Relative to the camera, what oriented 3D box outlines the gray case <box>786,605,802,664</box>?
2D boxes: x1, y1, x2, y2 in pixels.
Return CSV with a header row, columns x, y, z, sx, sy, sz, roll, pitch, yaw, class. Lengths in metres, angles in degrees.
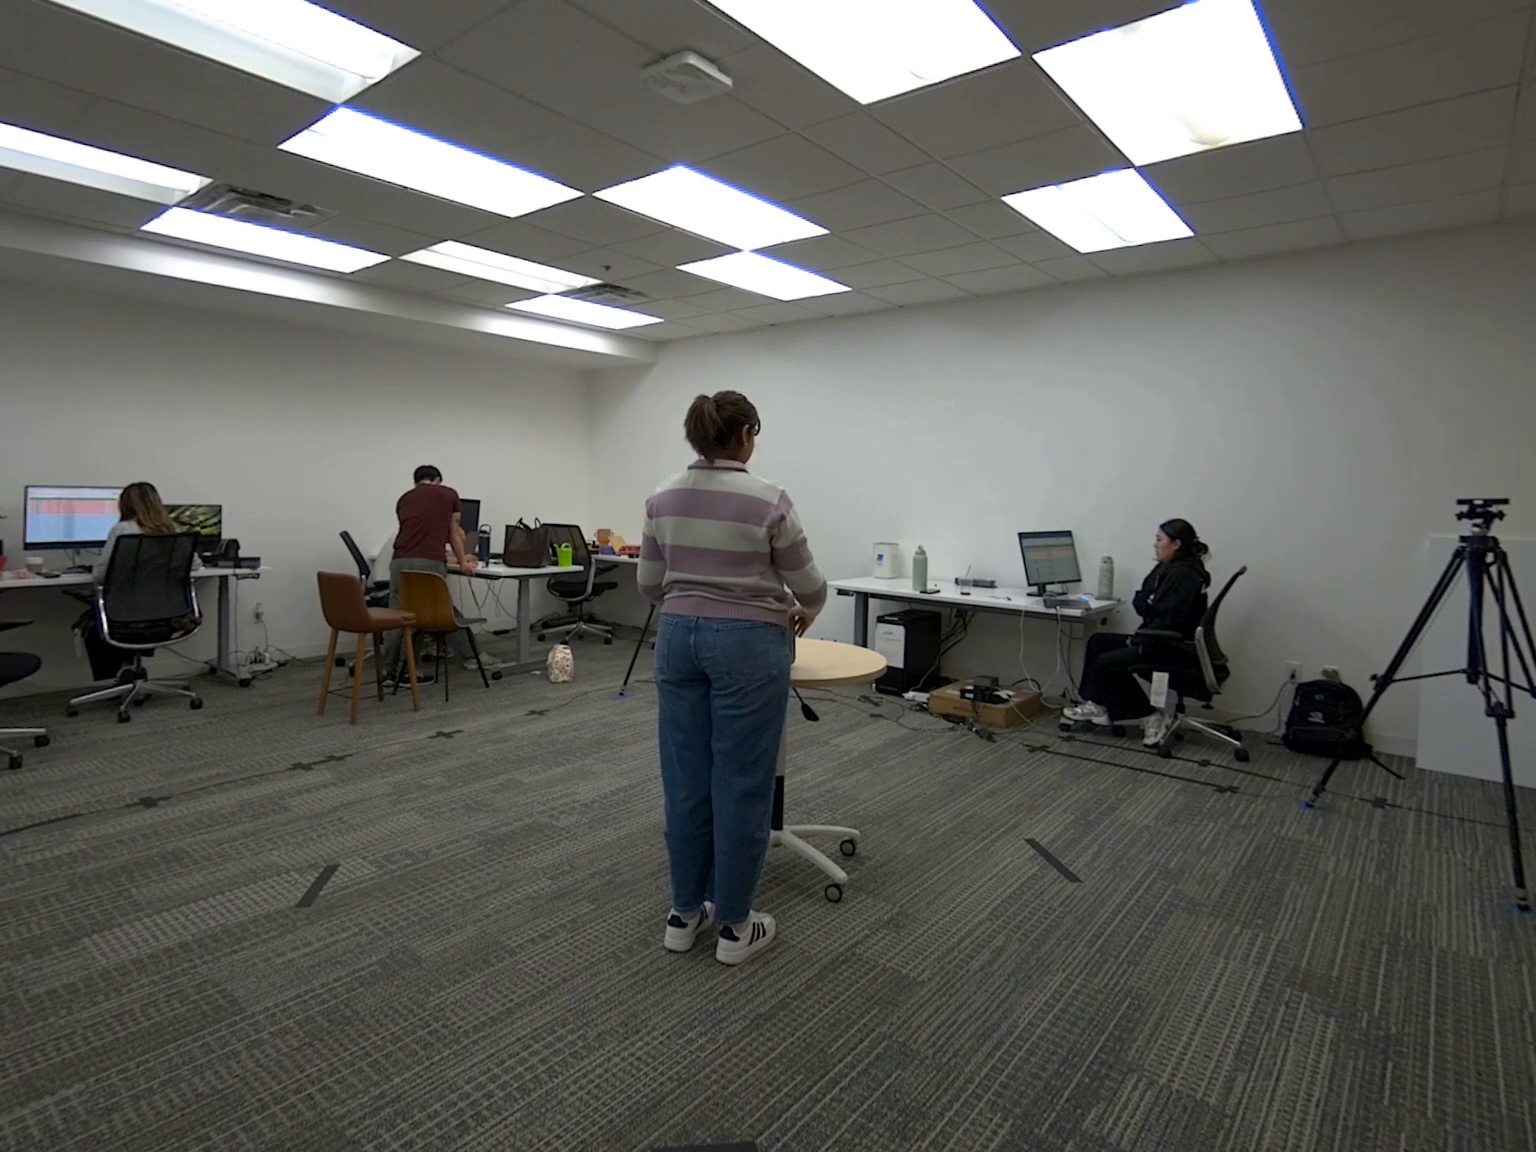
x,y,z,sx,sy,sz,roll,pitch,yaw,class
-0.041,0.177,2.928,0.260,0.260,0.103,0,1,10,gray case
